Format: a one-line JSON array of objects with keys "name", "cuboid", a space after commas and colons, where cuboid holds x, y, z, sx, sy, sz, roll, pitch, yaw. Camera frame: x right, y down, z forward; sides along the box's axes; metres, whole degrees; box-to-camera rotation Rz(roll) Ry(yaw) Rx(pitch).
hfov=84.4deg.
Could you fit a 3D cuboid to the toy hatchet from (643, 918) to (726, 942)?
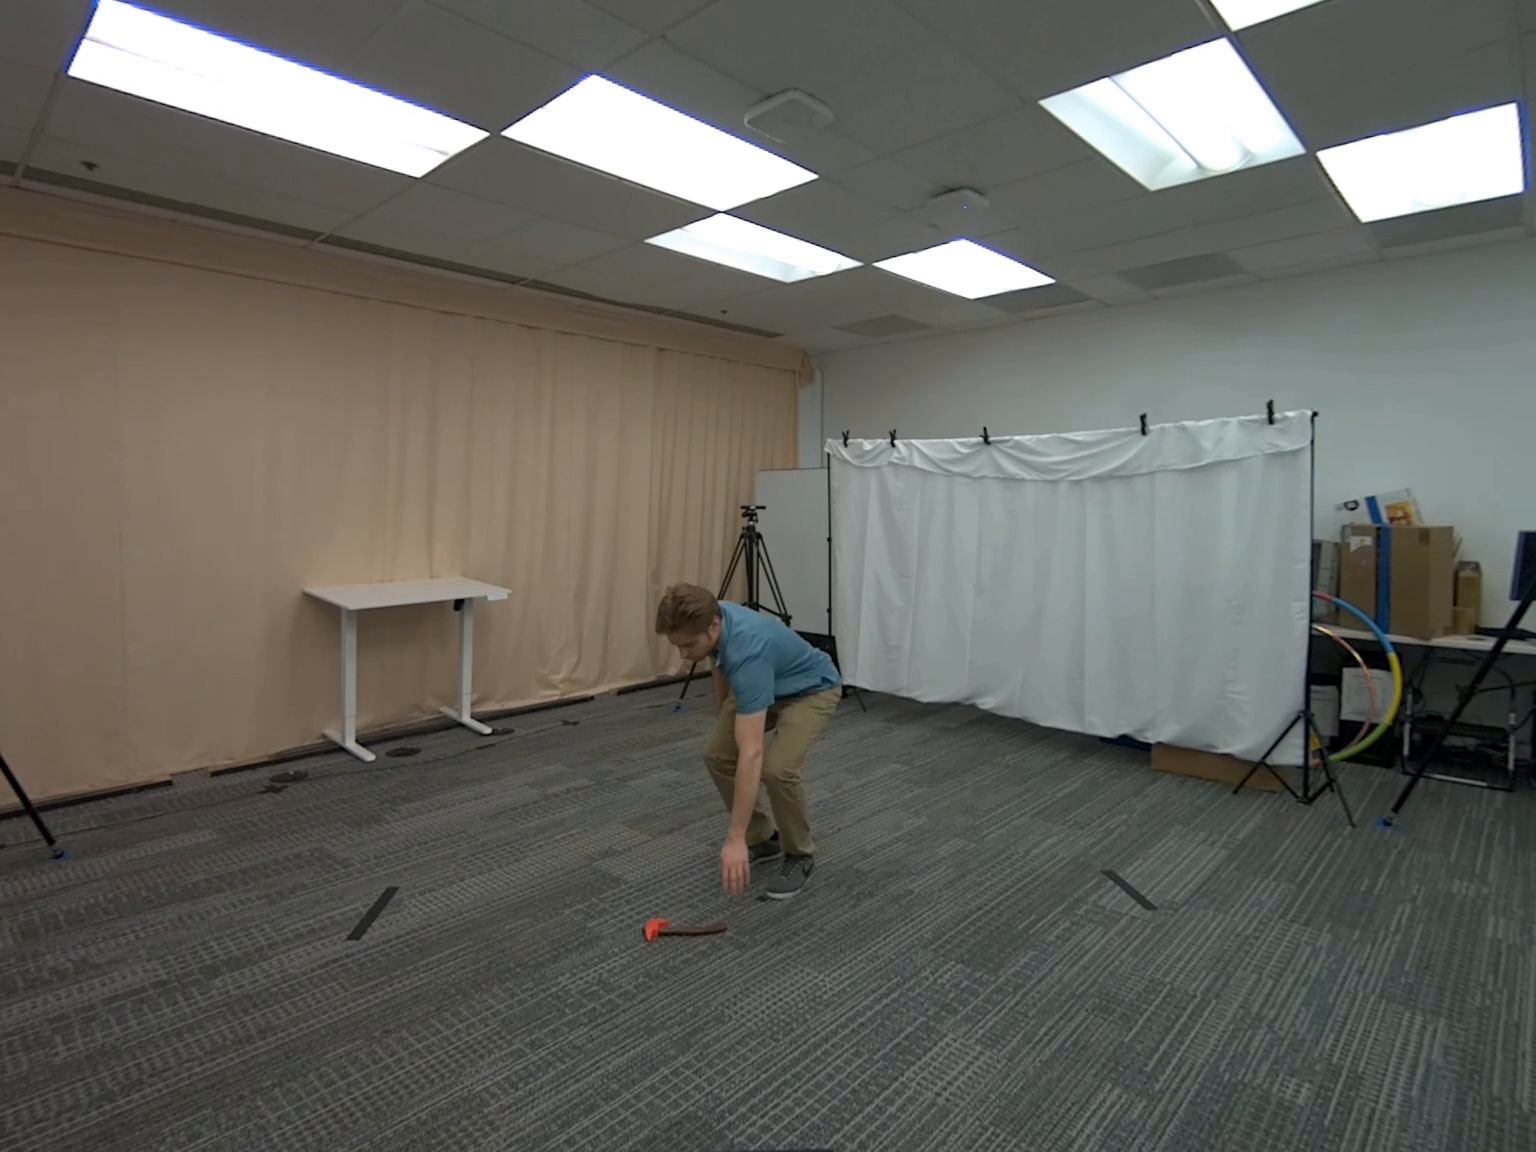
[{"name": "toy hatchet", "cuboid": [-0.280, 1.153, 2.772, 0.265, 0.029, 0.133, 0, 2, -18]}]
